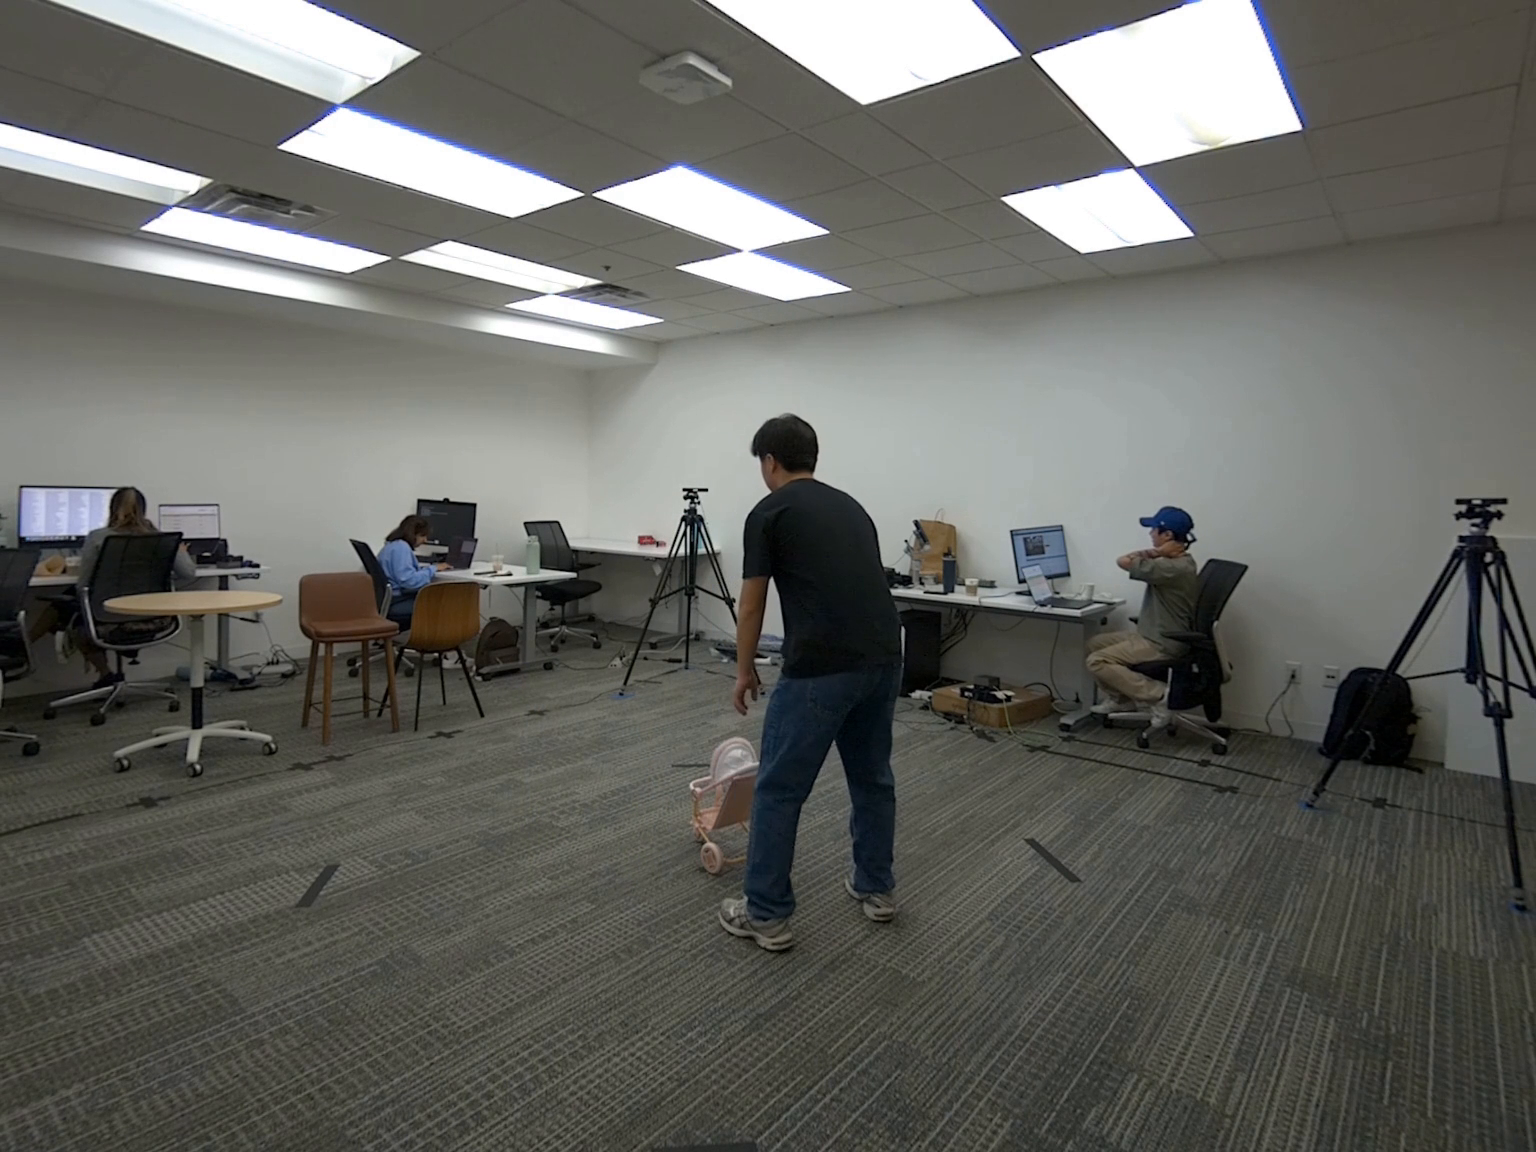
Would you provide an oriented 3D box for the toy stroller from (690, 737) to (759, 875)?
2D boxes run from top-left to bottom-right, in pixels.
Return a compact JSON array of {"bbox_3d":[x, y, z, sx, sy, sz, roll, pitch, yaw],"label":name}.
[{"bbox_3d":[-0.154,0.837,3.199,0.273,0.528,0.355,-1,20,-34],"label":"toy stroller"}]
